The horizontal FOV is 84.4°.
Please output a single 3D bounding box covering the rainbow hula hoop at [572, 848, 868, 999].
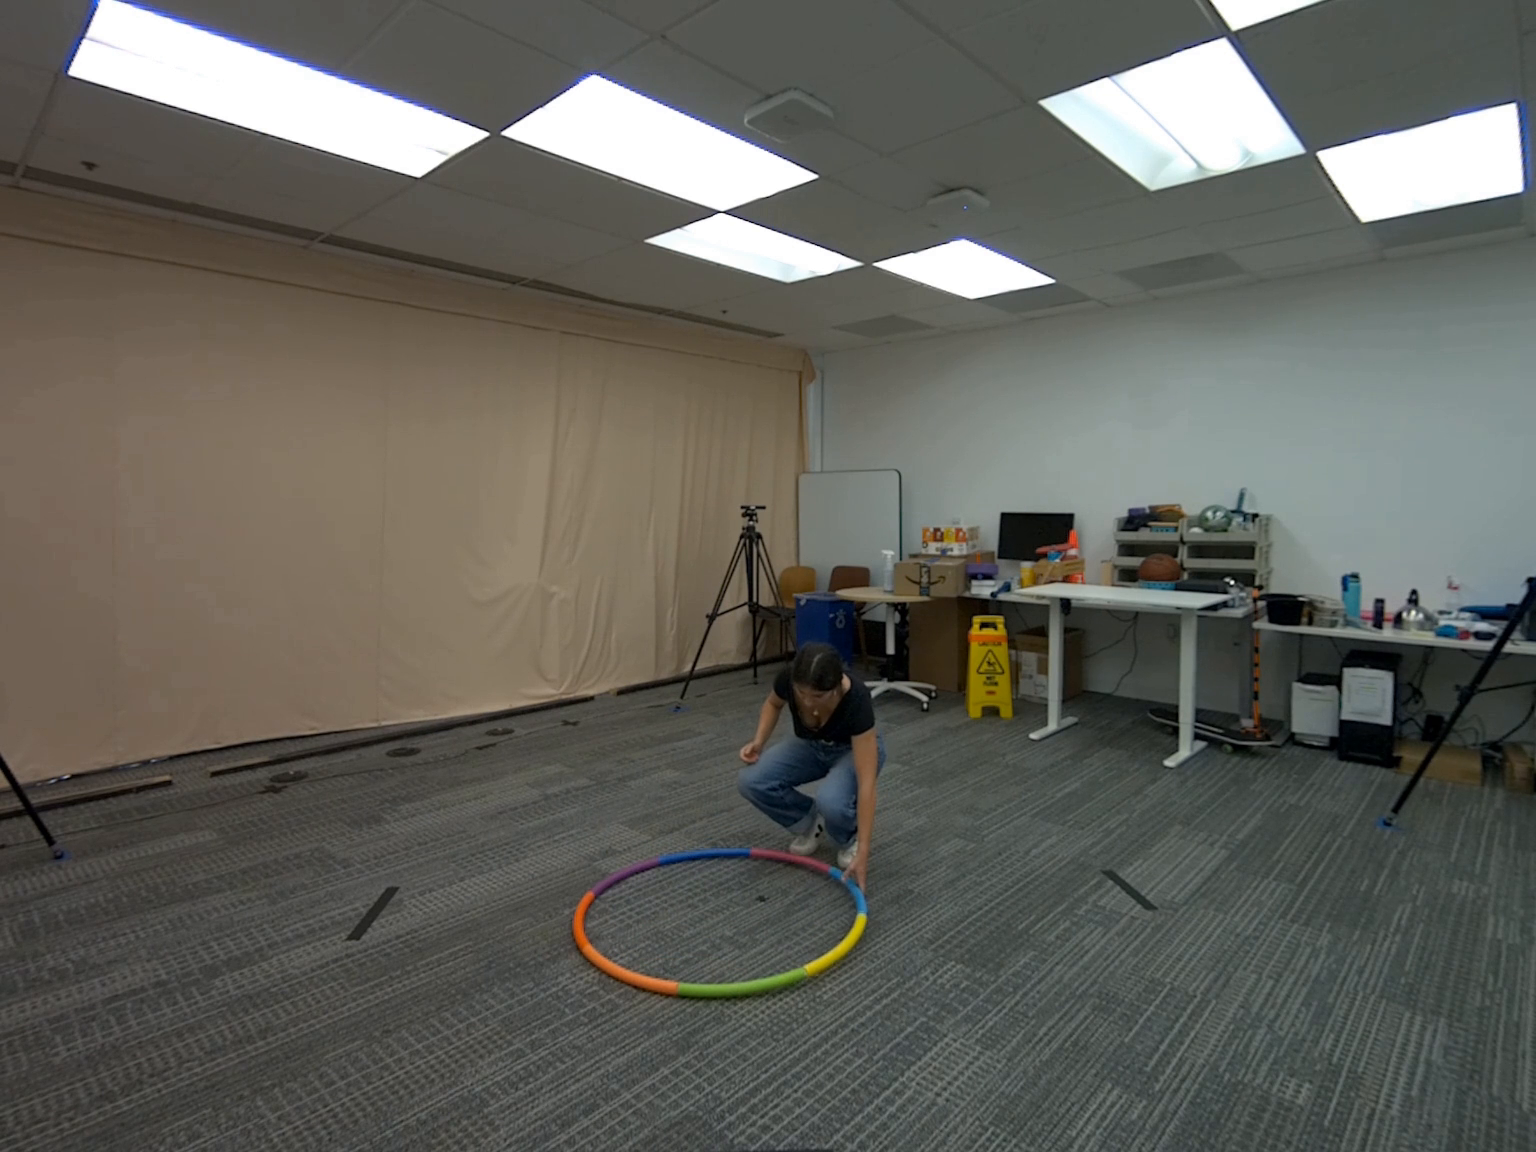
[{"bbox_3d":[-0.159,1.115,2.853,0.978,0.035,0.982,-3,5,-2],"label":"rainbow hula hoop"}]
